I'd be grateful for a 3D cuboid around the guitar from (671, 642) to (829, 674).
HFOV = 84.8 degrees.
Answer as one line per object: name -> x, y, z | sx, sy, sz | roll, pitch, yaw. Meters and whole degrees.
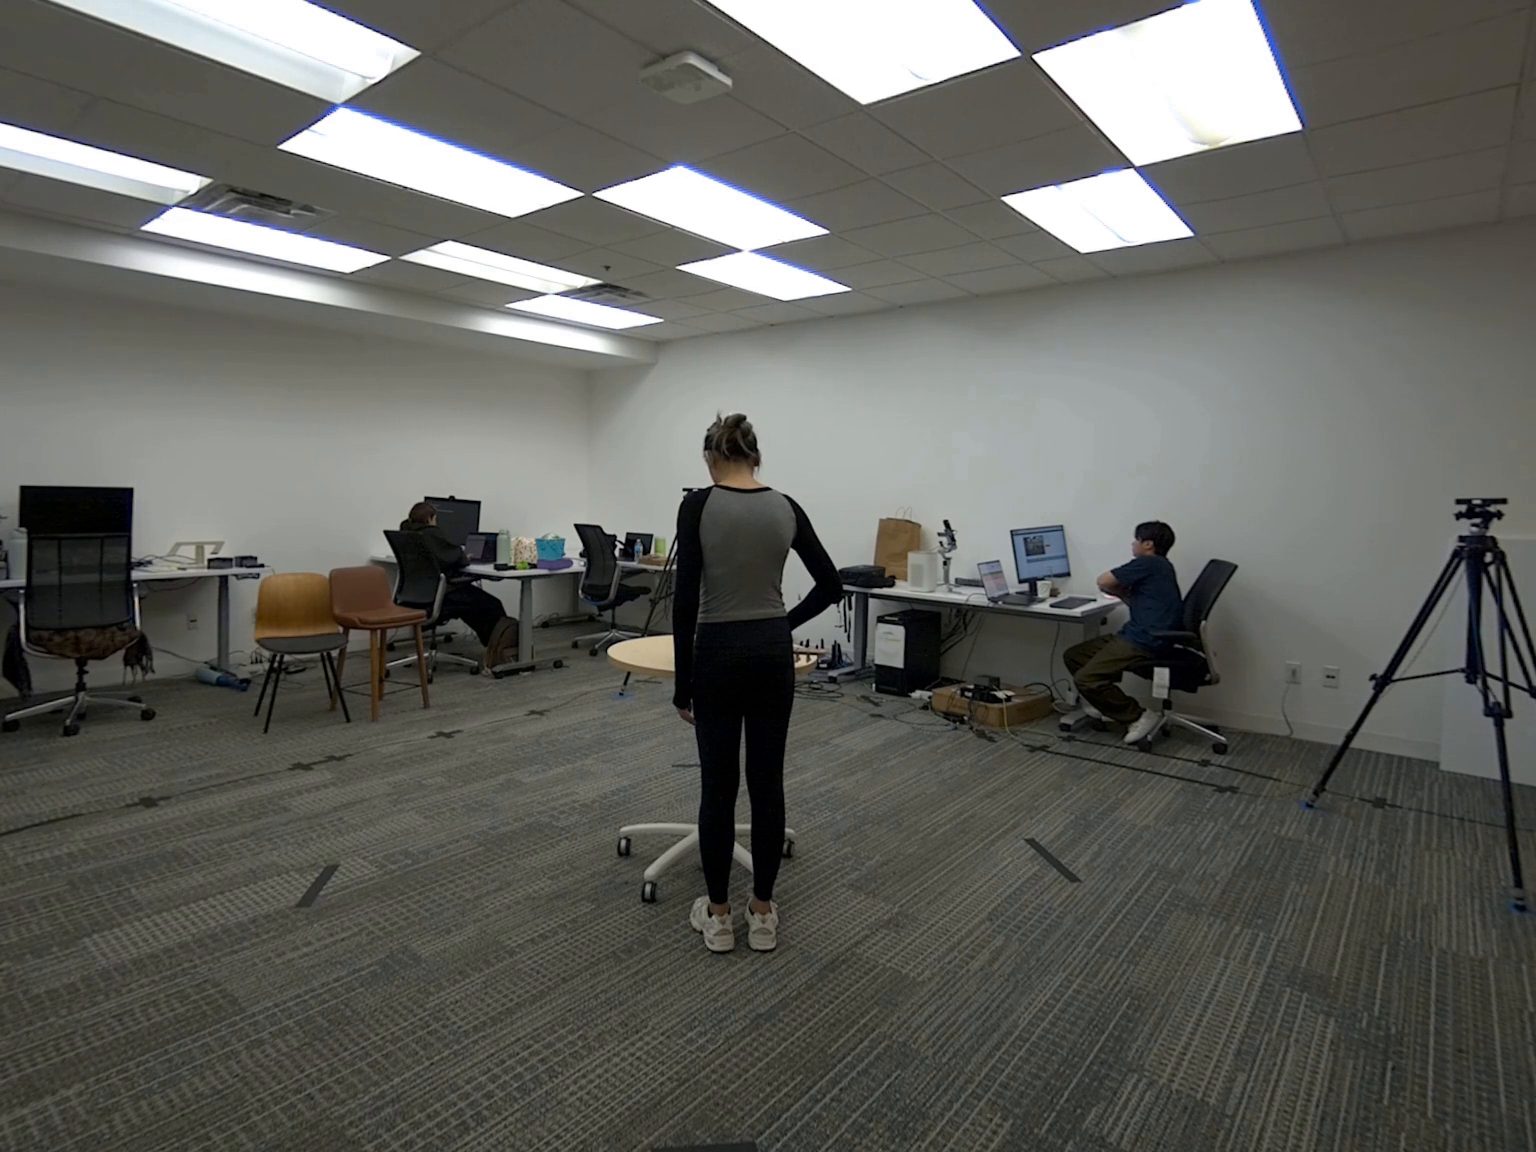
guitar -> -0.062, 0.264, 2.863 | 0.508, 0.070, 0.189 | 2, 2, 19
